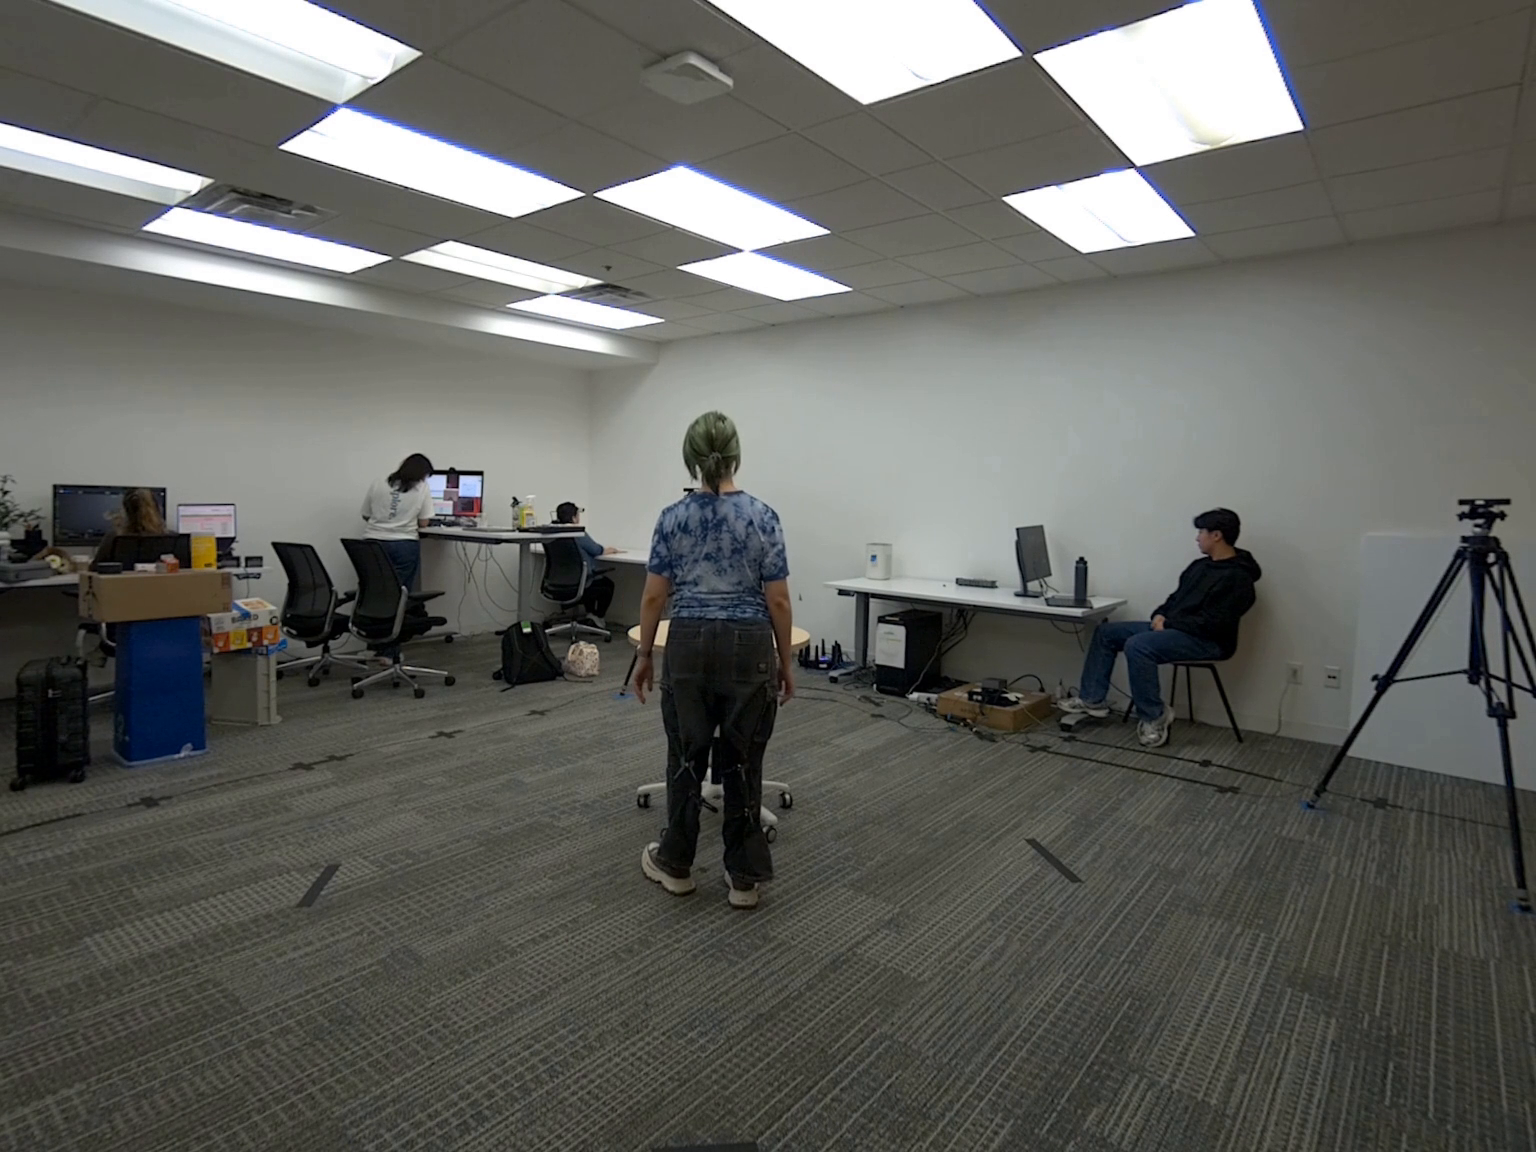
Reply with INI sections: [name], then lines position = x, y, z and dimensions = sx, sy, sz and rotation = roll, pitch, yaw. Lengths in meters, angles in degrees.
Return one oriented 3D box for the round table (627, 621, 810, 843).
[round table]
position = -0.224, 0.630, 3.609
dimensions = 0.763, 0.791, 0.768
rotation = 1, 4, -2
